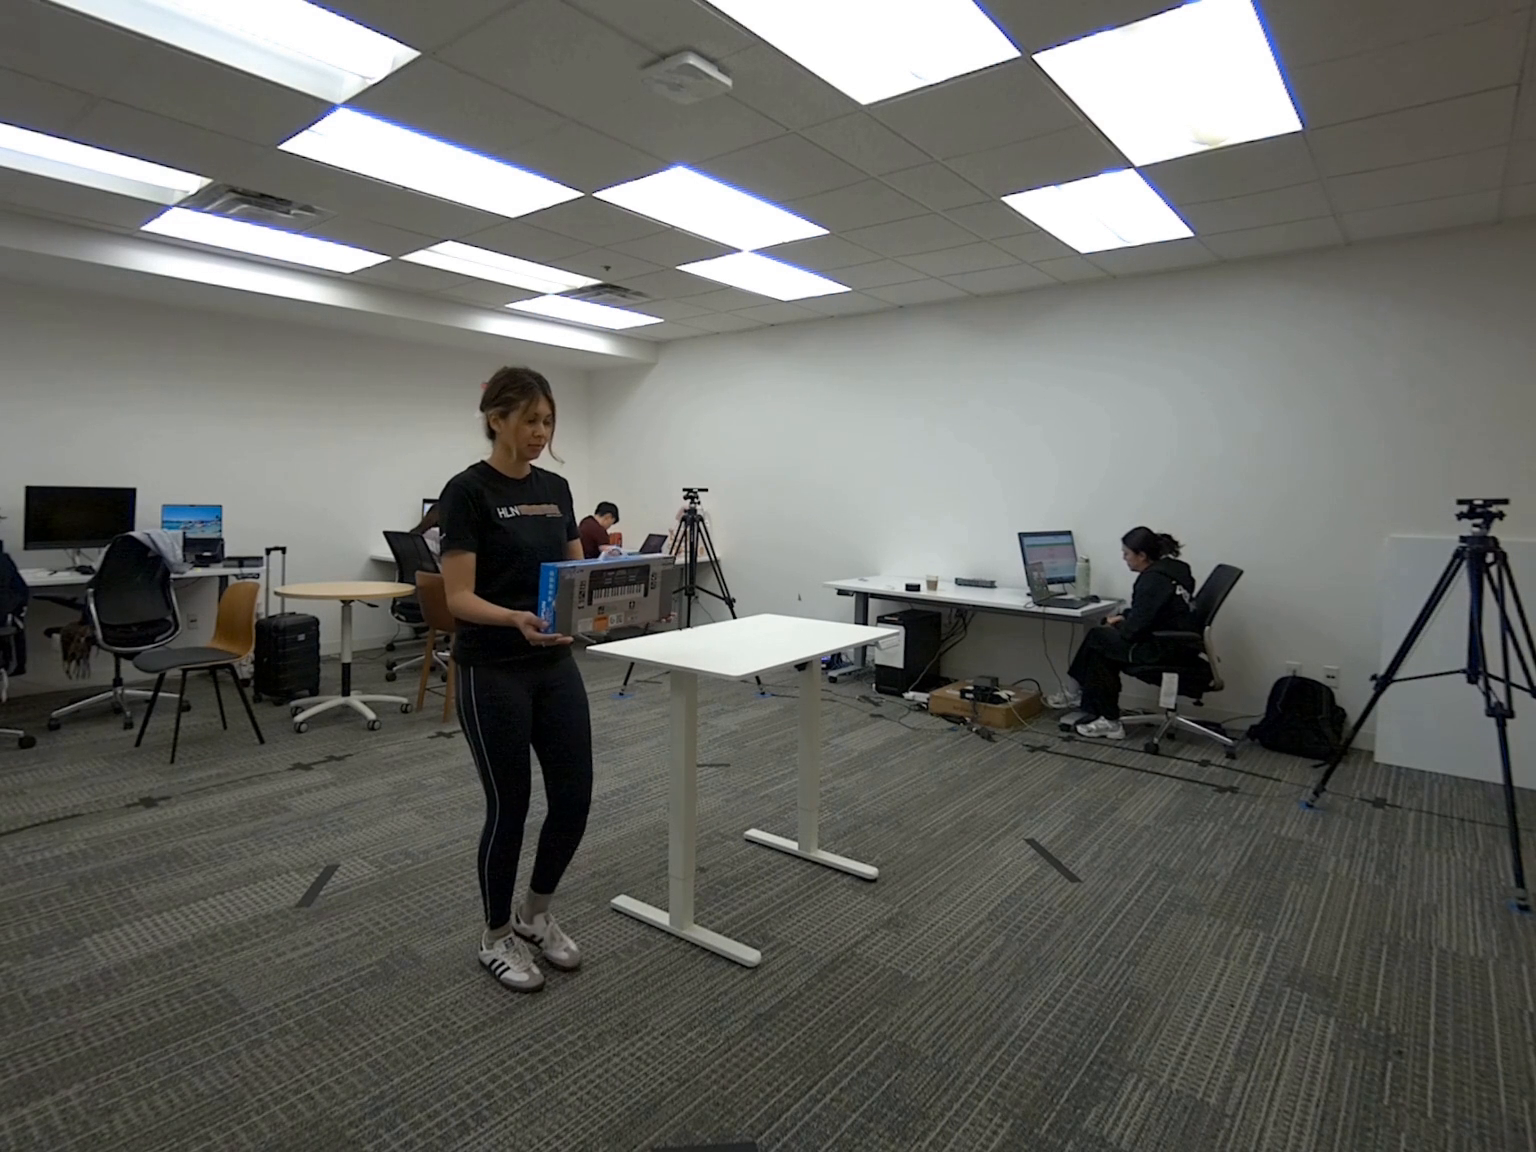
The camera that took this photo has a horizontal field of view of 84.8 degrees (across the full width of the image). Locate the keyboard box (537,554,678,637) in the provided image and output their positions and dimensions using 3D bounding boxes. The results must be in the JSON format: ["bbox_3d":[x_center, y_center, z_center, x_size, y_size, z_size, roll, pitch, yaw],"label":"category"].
[{"bbox_3d":[-0.403,0.047,2.139,0.061,0.175,0.425,9,8,32],"label":"keyboard box"}]
